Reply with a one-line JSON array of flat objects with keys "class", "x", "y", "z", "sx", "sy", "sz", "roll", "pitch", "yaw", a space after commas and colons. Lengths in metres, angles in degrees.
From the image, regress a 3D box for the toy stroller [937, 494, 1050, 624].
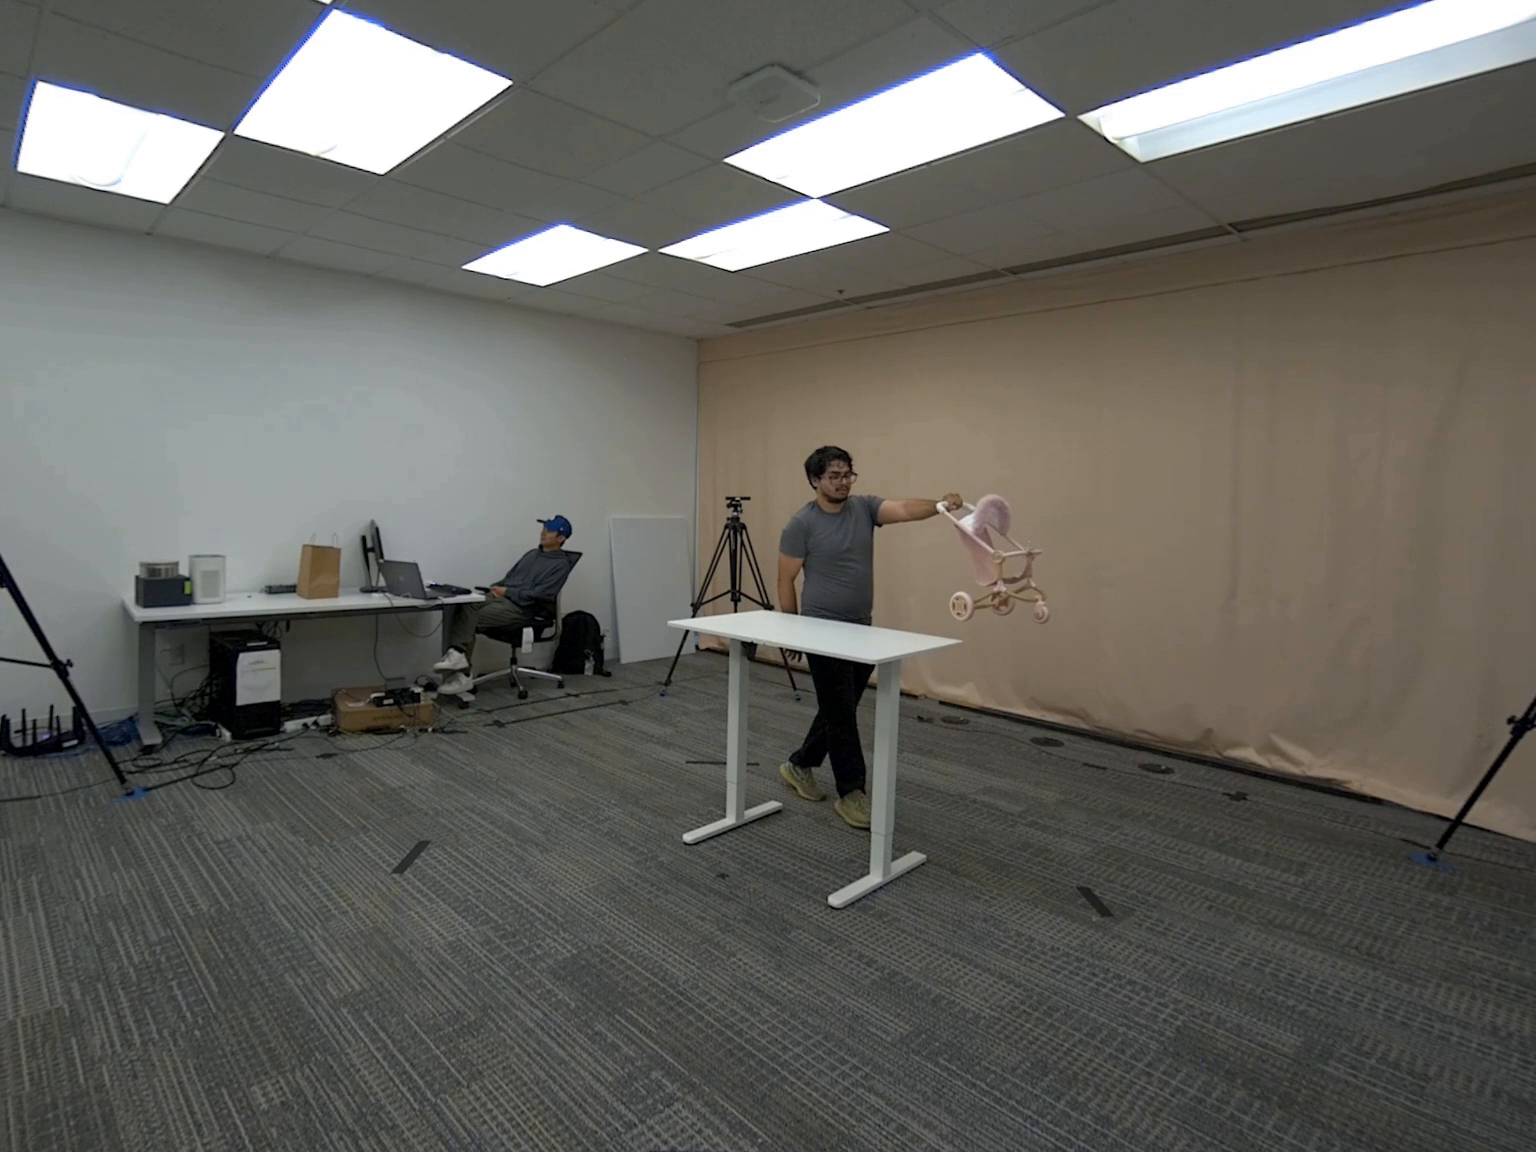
[{"class": "toy stroller", "x": 0.849, "y": -0.064, "z": 3.174, "sx": 0.275, "sy": 0.539, "sz": 0.345, "roll": -2, "pitch": -11, "yaw": -33}]
